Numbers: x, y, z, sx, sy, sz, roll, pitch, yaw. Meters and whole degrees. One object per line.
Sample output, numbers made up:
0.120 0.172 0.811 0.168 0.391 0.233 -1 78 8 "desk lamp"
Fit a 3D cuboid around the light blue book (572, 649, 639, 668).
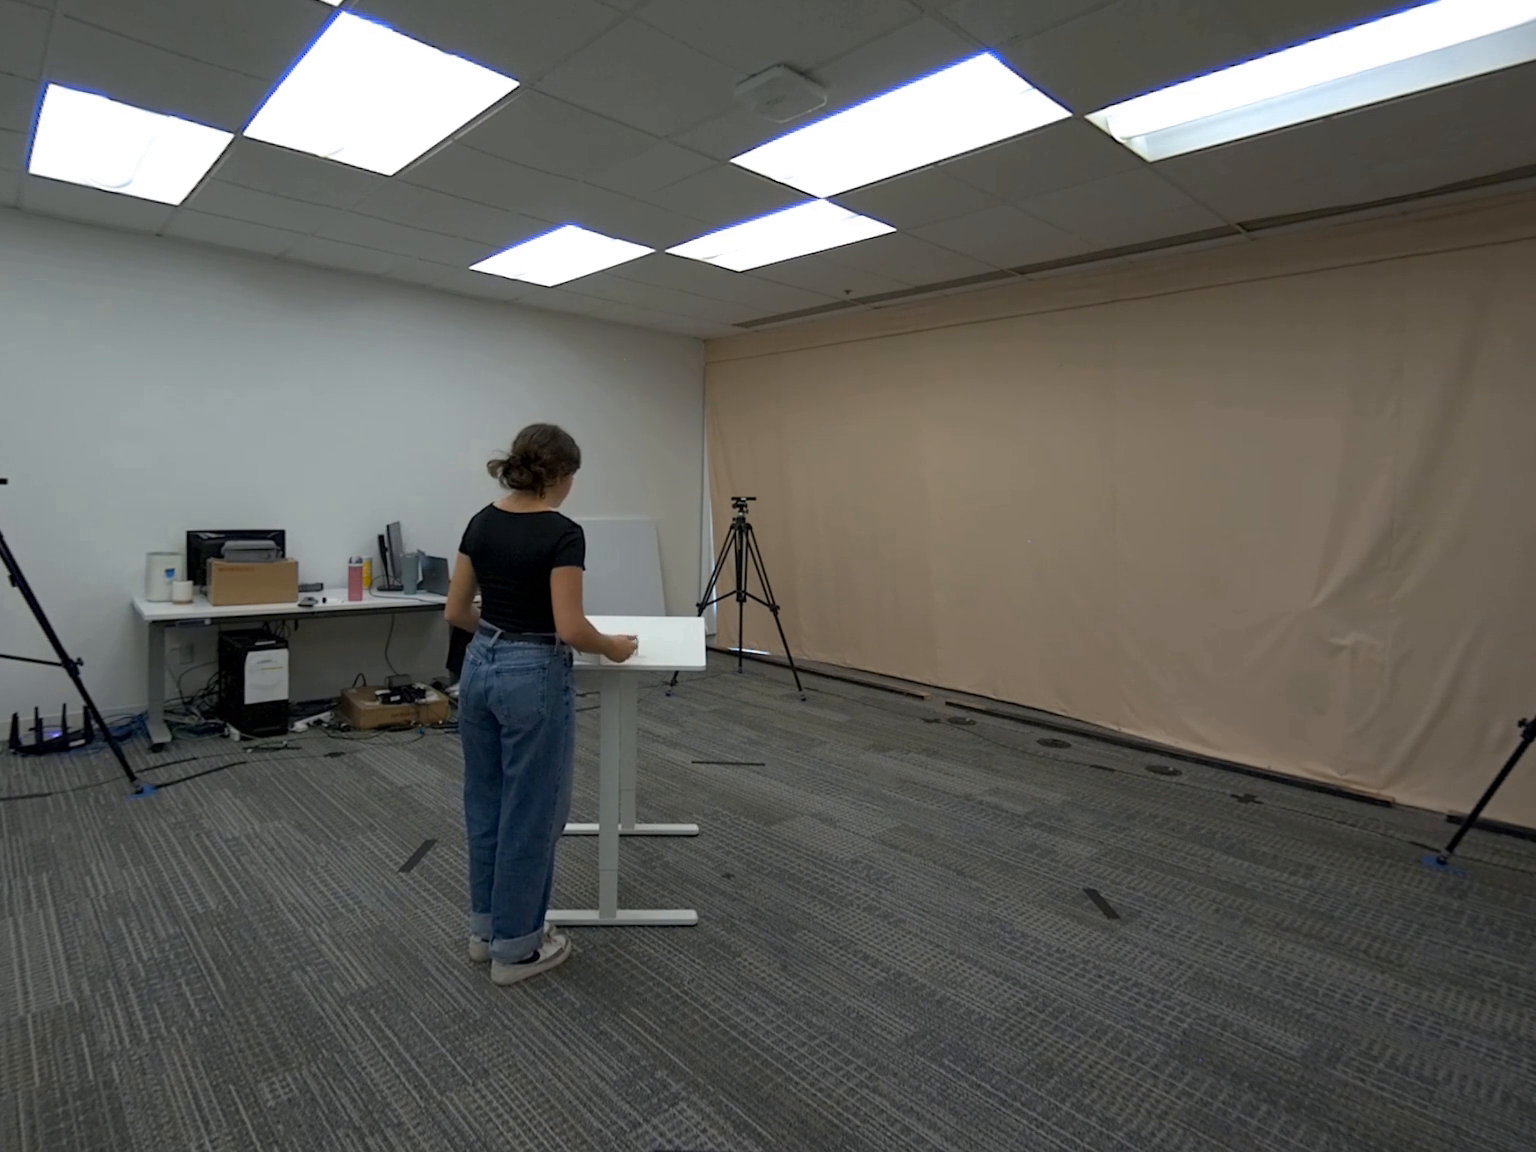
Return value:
-0.592 0.231 2.690 0.267 0.059 0.188 4 6 30 "light blue book"
